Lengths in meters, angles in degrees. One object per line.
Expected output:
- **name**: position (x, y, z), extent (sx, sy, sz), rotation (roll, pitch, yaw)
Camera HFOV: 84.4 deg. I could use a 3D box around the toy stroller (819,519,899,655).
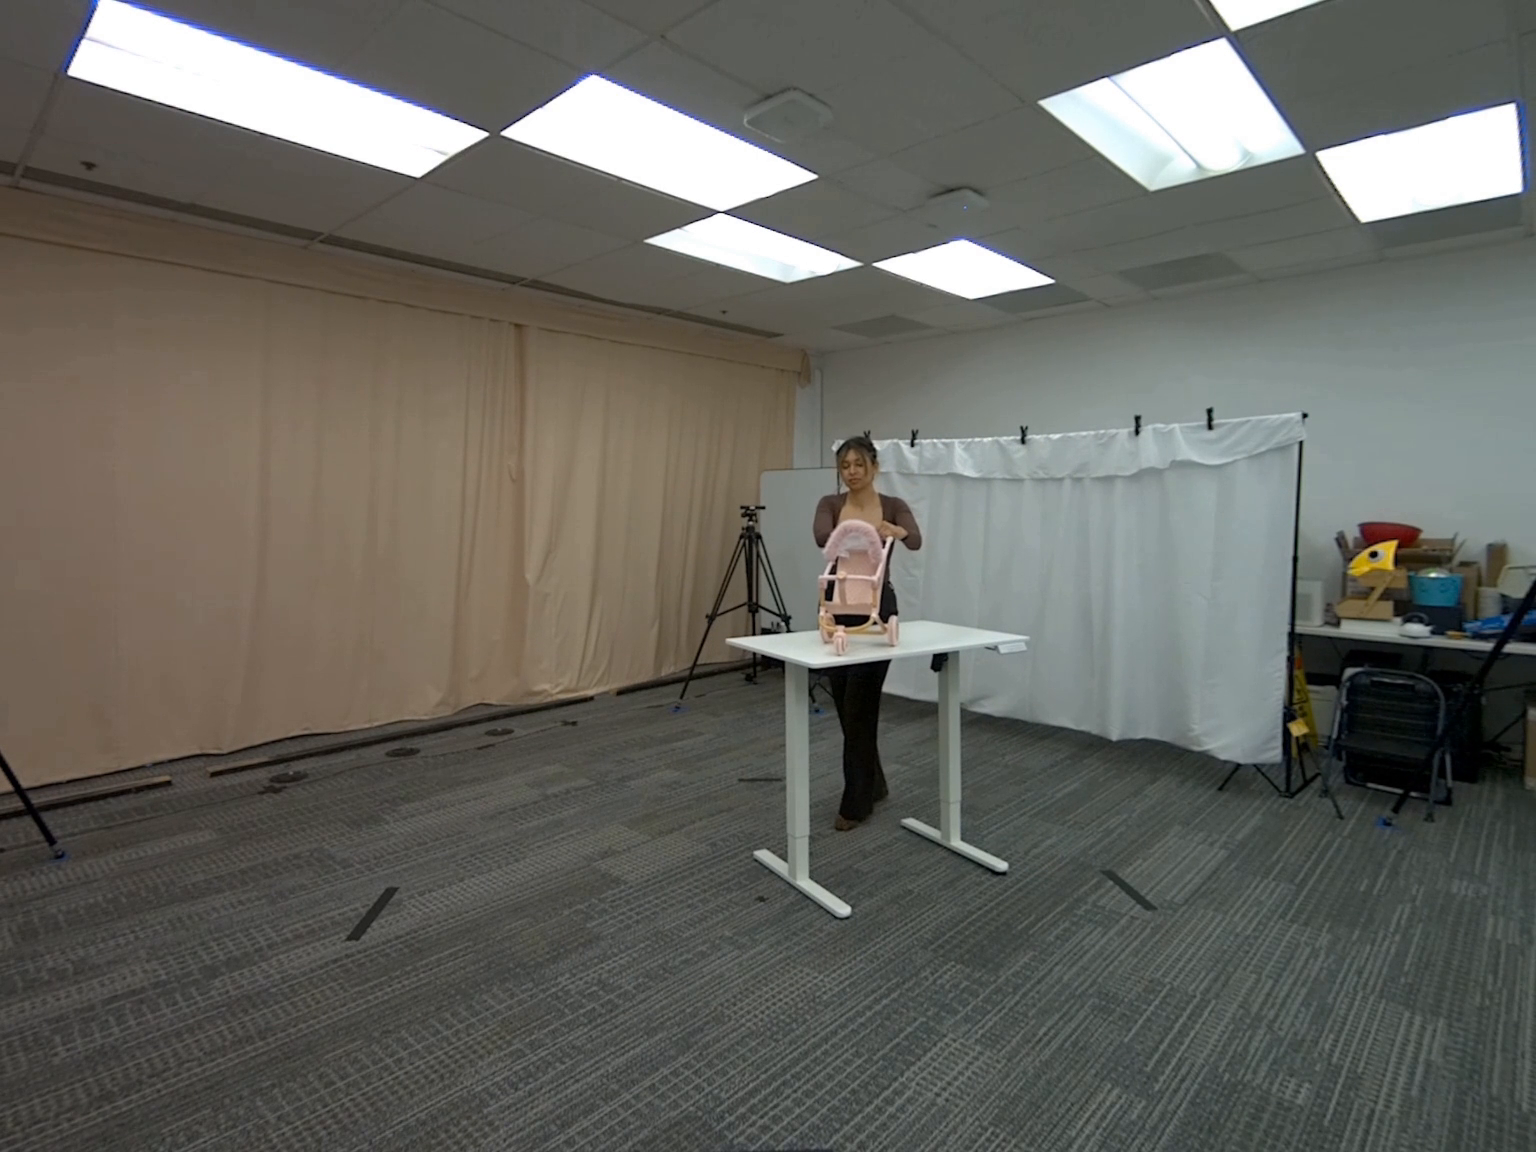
- **toy stroller**: position (0.313, 0.036, 3.036), extent (0.289, 0.538, 0.330), rotation (0, -13, 27)
